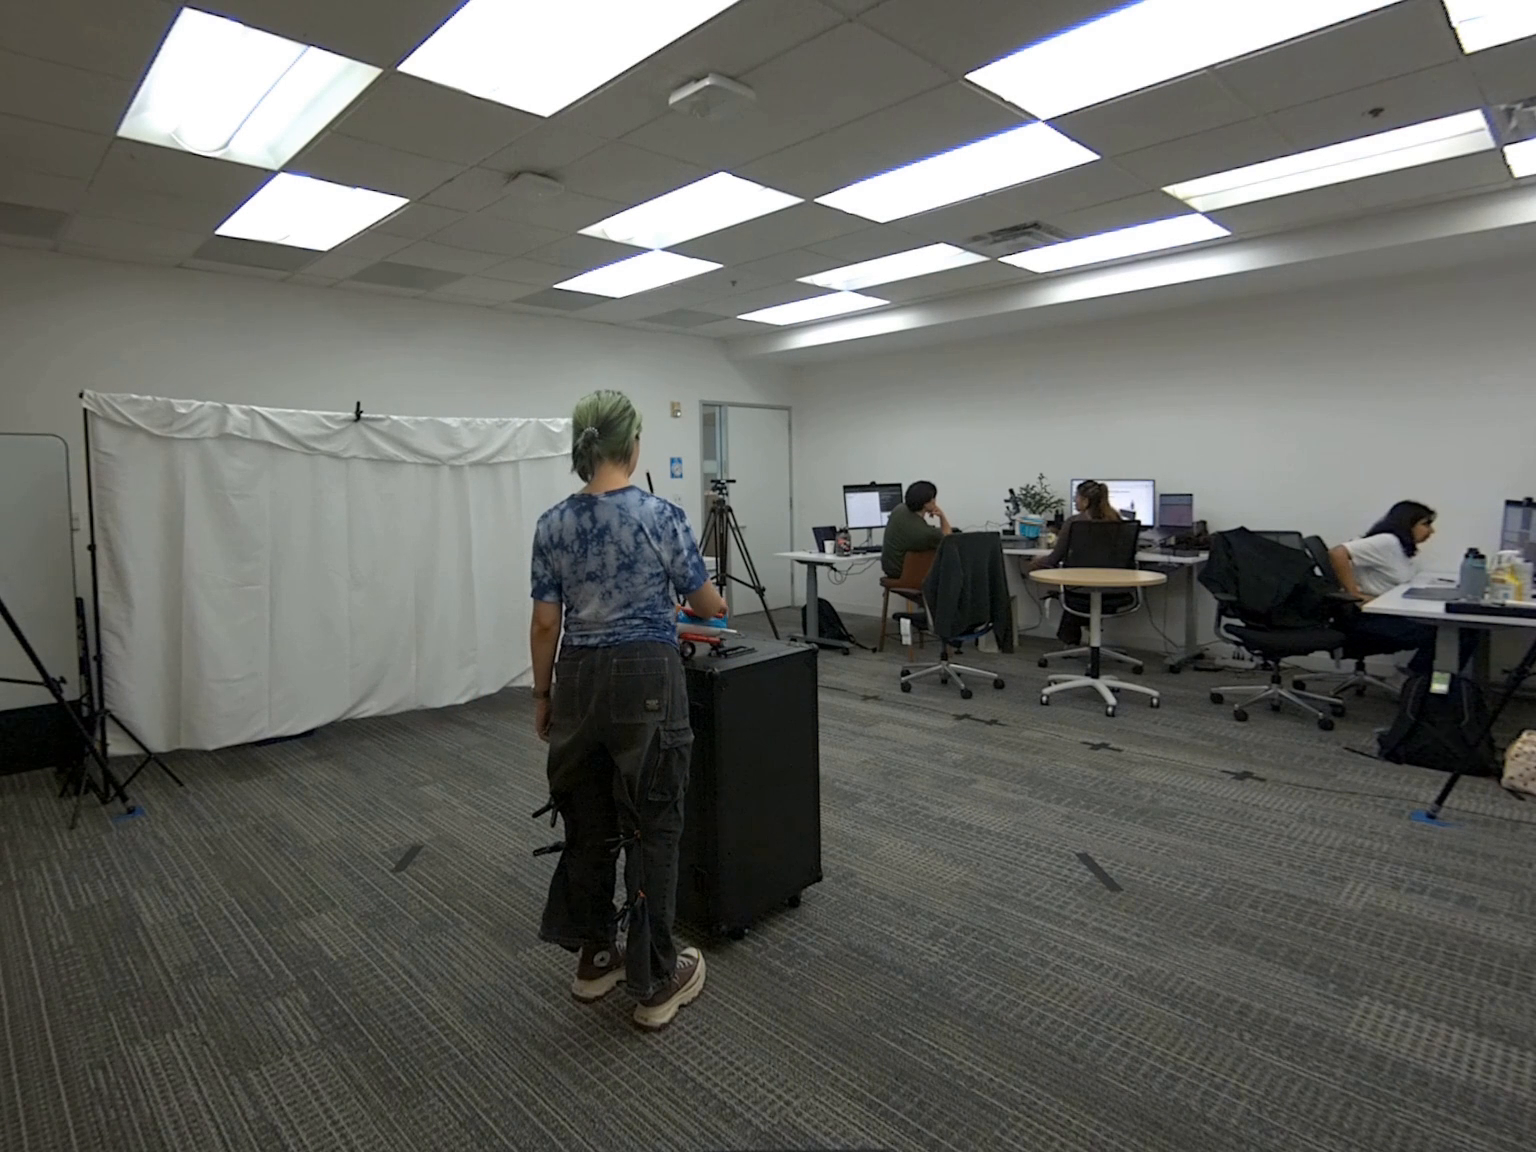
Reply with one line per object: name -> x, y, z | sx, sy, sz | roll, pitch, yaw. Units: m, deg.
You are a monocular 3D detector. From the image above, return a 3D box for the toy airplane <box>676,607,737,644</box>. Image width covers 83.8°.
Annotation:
toy airplane -> -0.239, 0.167, 2.734 | 0.255, 0.156, 0.256 | -1, 6, 15
